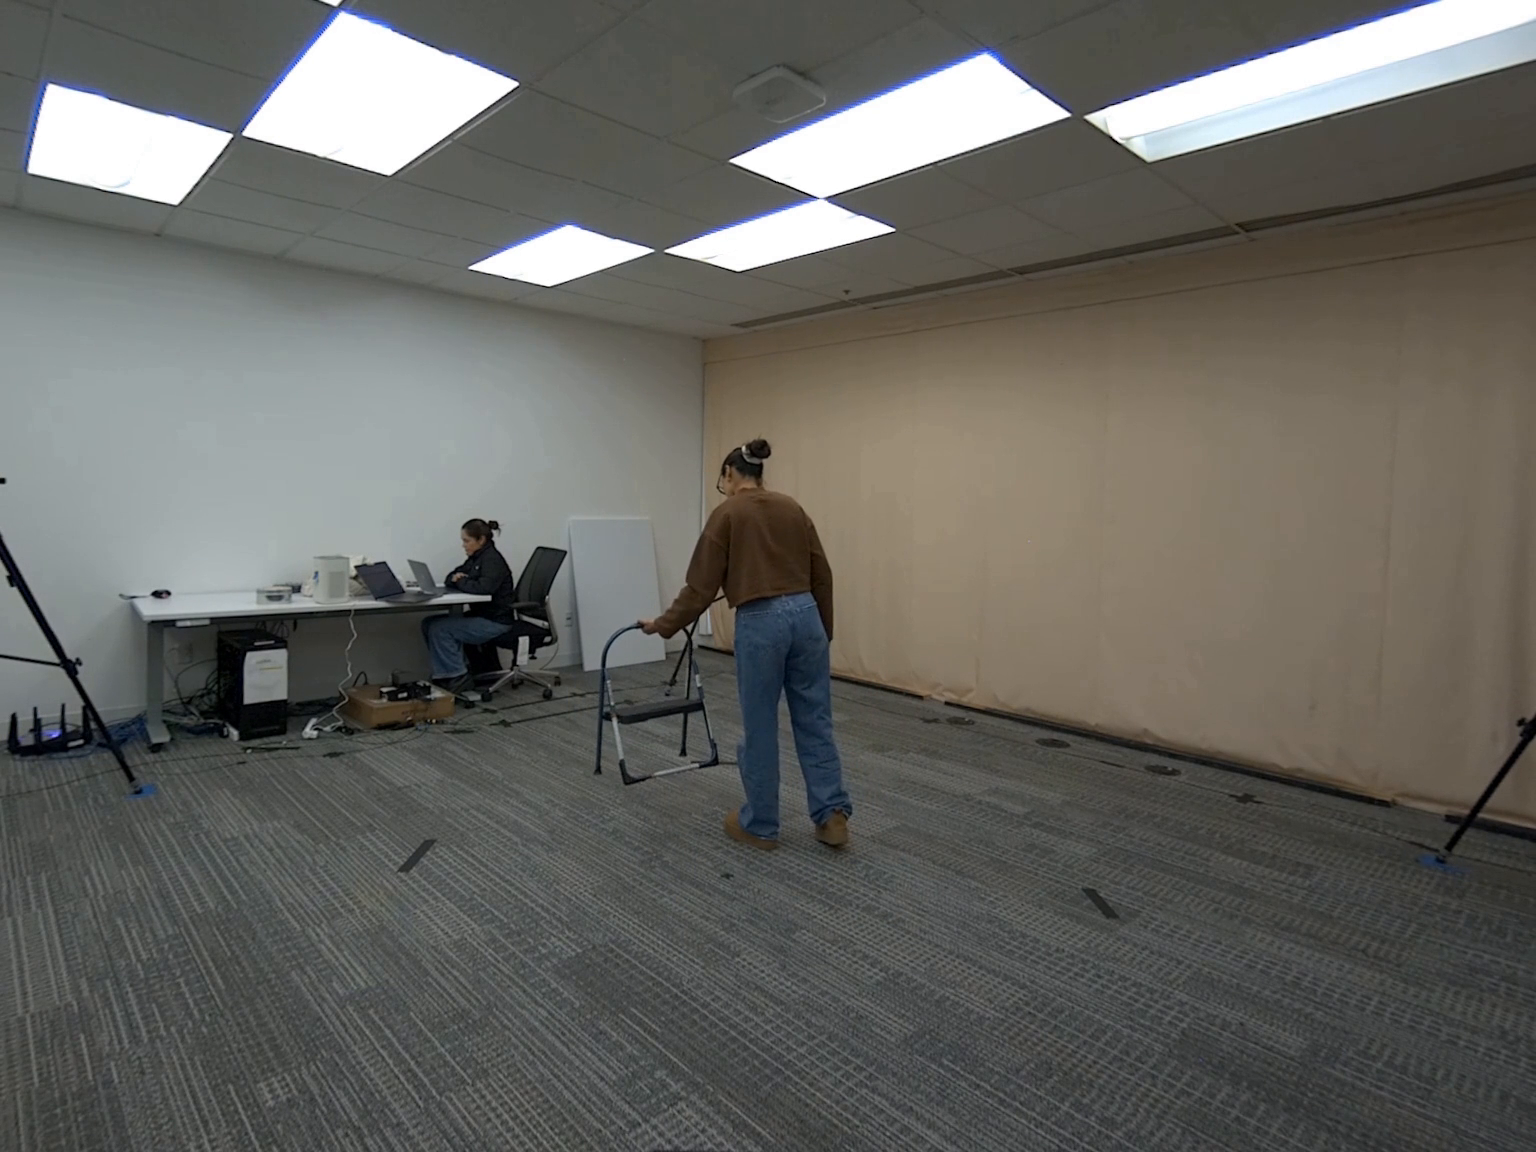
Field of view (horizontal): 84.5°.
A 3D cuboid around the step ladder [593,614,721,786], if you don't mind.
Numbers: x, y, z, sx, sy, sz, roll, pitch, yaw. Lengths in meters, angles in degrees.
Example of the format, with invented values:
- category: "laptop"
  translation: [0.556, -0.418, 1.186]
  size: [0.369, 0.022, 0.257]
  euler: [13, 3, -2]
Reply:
- category: "step ladder"
  translation: [-0.492, 0.496, 3.472]
  size: [0.422, 0.608, 0.355]
  euler: [-4, -3, -31]
